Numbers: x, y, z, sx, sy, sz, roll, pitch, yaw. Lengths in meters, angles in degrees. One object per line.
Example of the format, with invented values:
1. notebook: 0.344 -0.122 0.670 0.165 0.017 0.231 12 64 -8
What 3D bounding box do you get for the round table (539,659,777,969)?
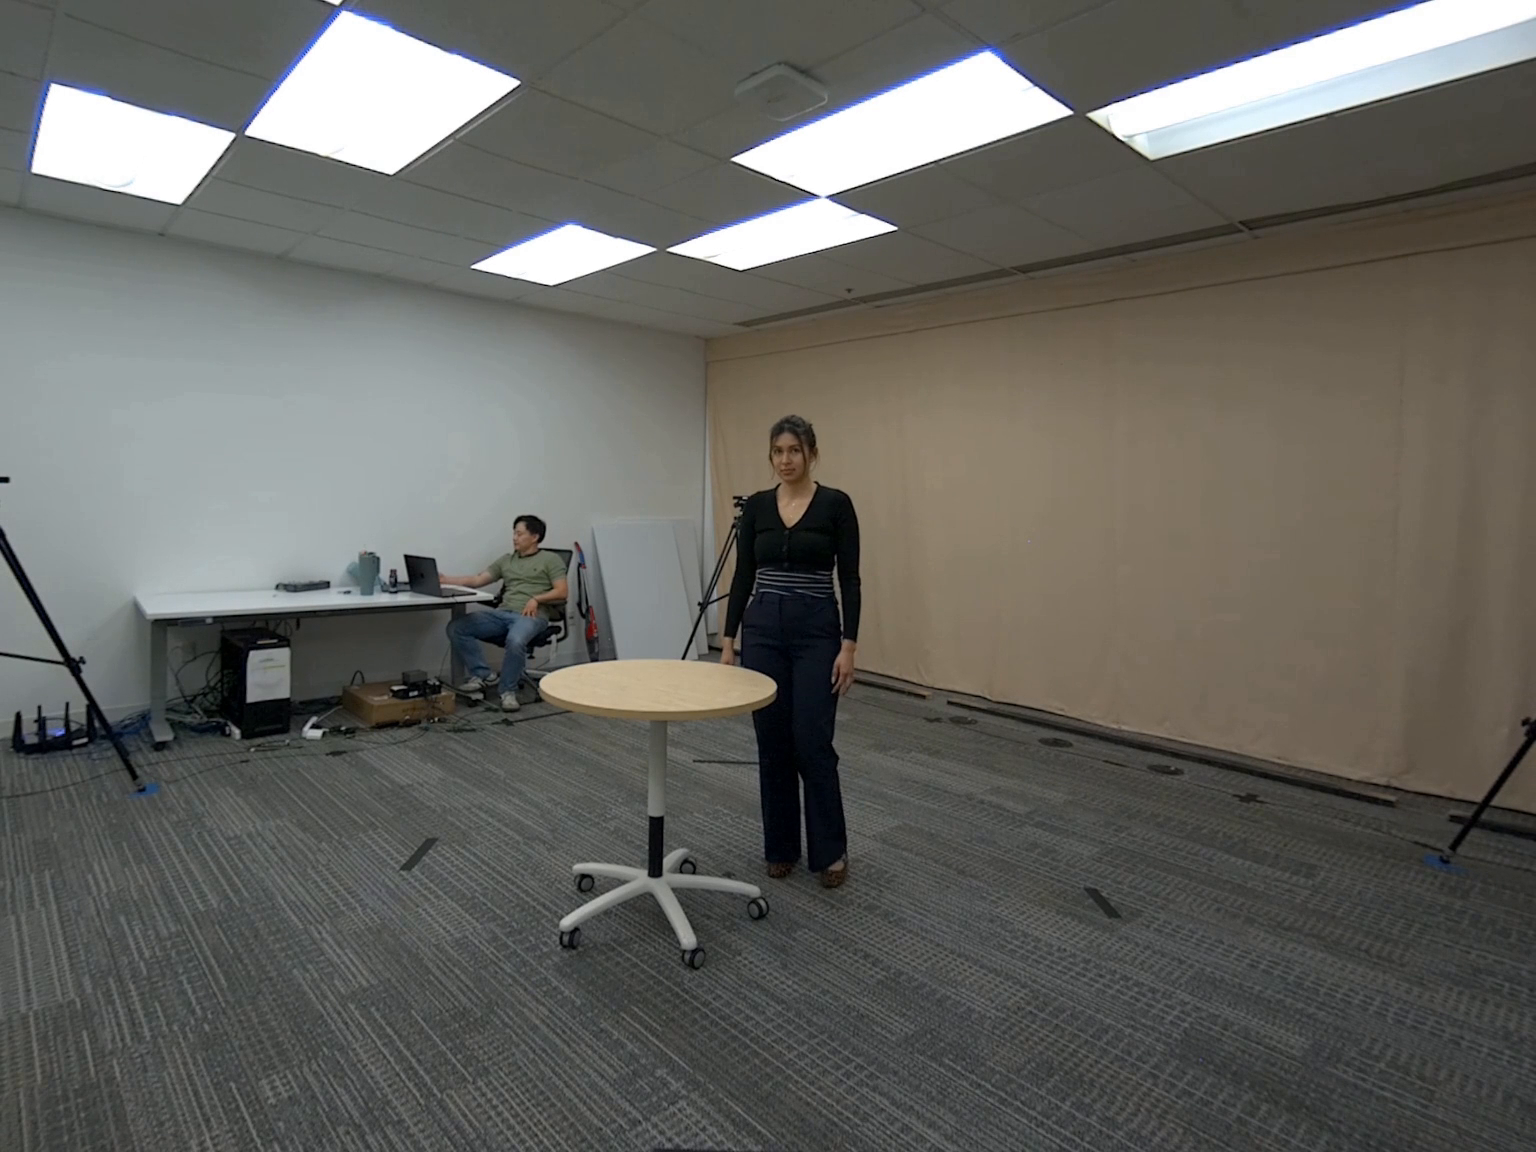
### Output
1. round table: -0.372 0.743 2.753 0.763 0.792 0.766 1 4 -1
